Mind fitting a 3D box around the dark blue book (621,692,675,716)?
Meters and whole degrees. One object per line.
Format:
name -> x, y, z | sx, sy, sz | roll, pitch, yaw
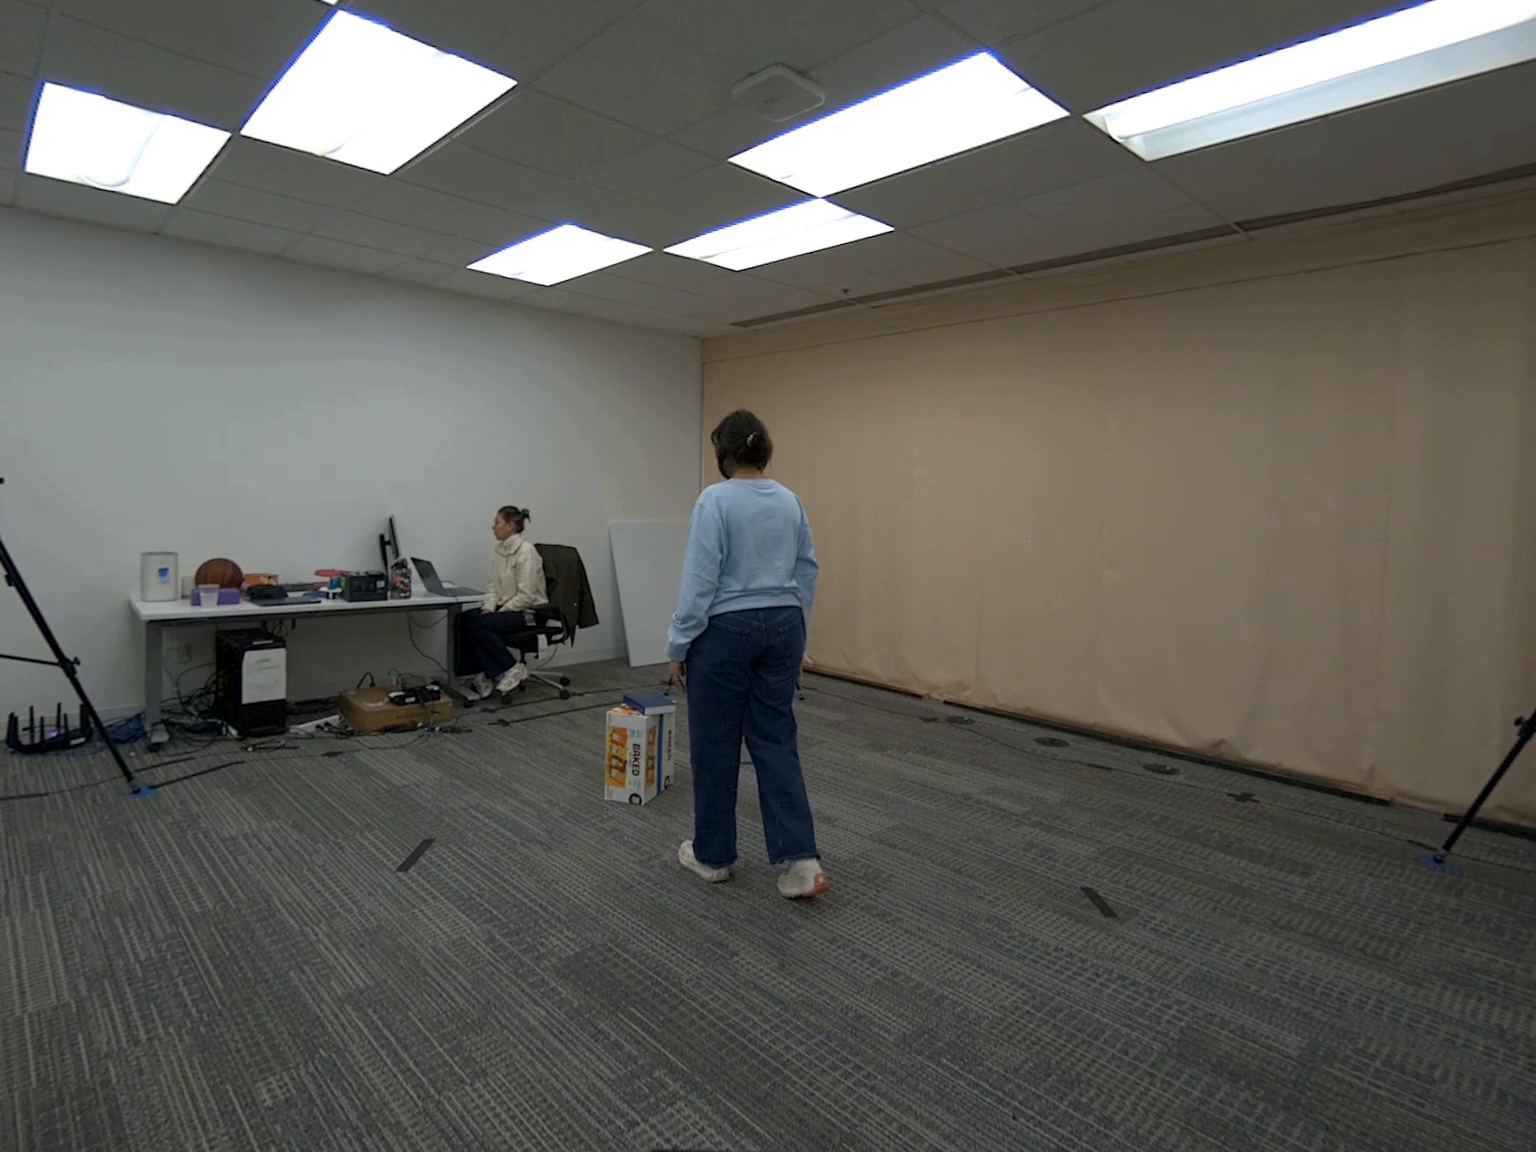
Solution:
dark blue book -> -0.567, 0.593, 3.955 | 0.160, 0.045, 0.251 | -1, 7, -32
